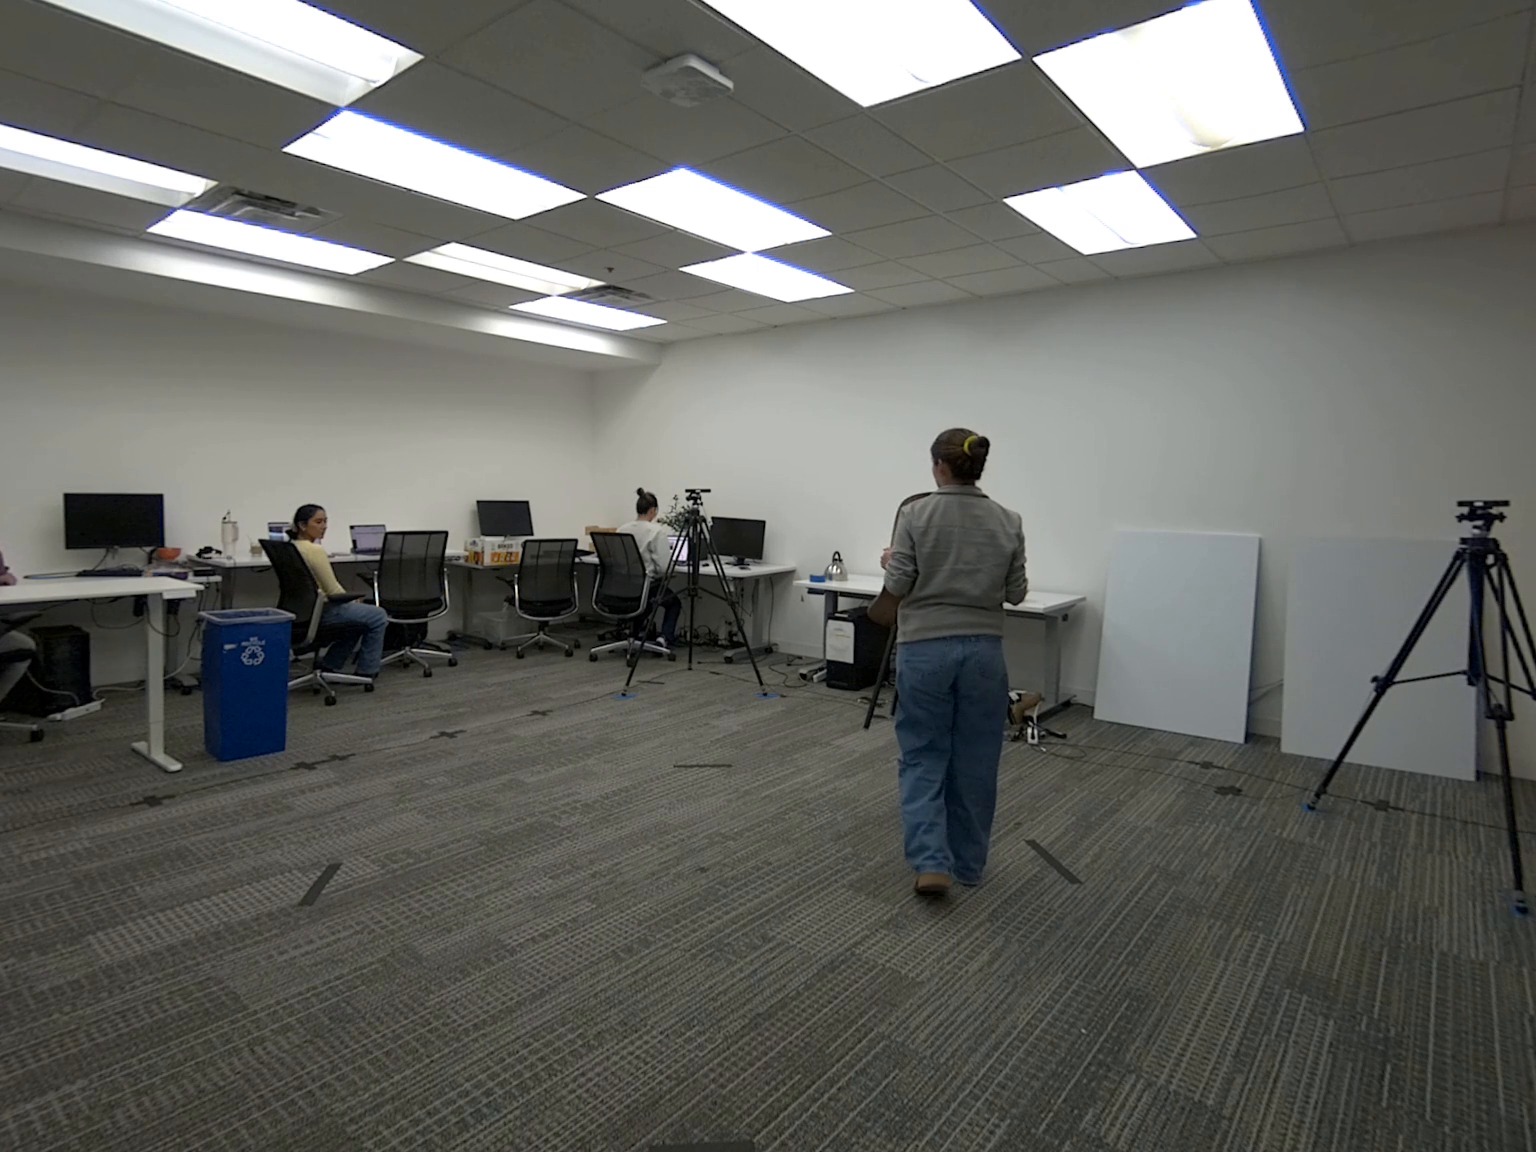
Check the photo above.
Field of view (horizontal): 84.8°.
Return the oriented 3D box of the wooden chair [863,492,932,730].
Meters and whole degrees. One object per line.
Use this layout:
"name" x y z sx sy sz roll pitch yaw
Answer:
"wooden chair" 0.631 0.162 3.331 0.477 0.888 0.518 3 -14 -3
